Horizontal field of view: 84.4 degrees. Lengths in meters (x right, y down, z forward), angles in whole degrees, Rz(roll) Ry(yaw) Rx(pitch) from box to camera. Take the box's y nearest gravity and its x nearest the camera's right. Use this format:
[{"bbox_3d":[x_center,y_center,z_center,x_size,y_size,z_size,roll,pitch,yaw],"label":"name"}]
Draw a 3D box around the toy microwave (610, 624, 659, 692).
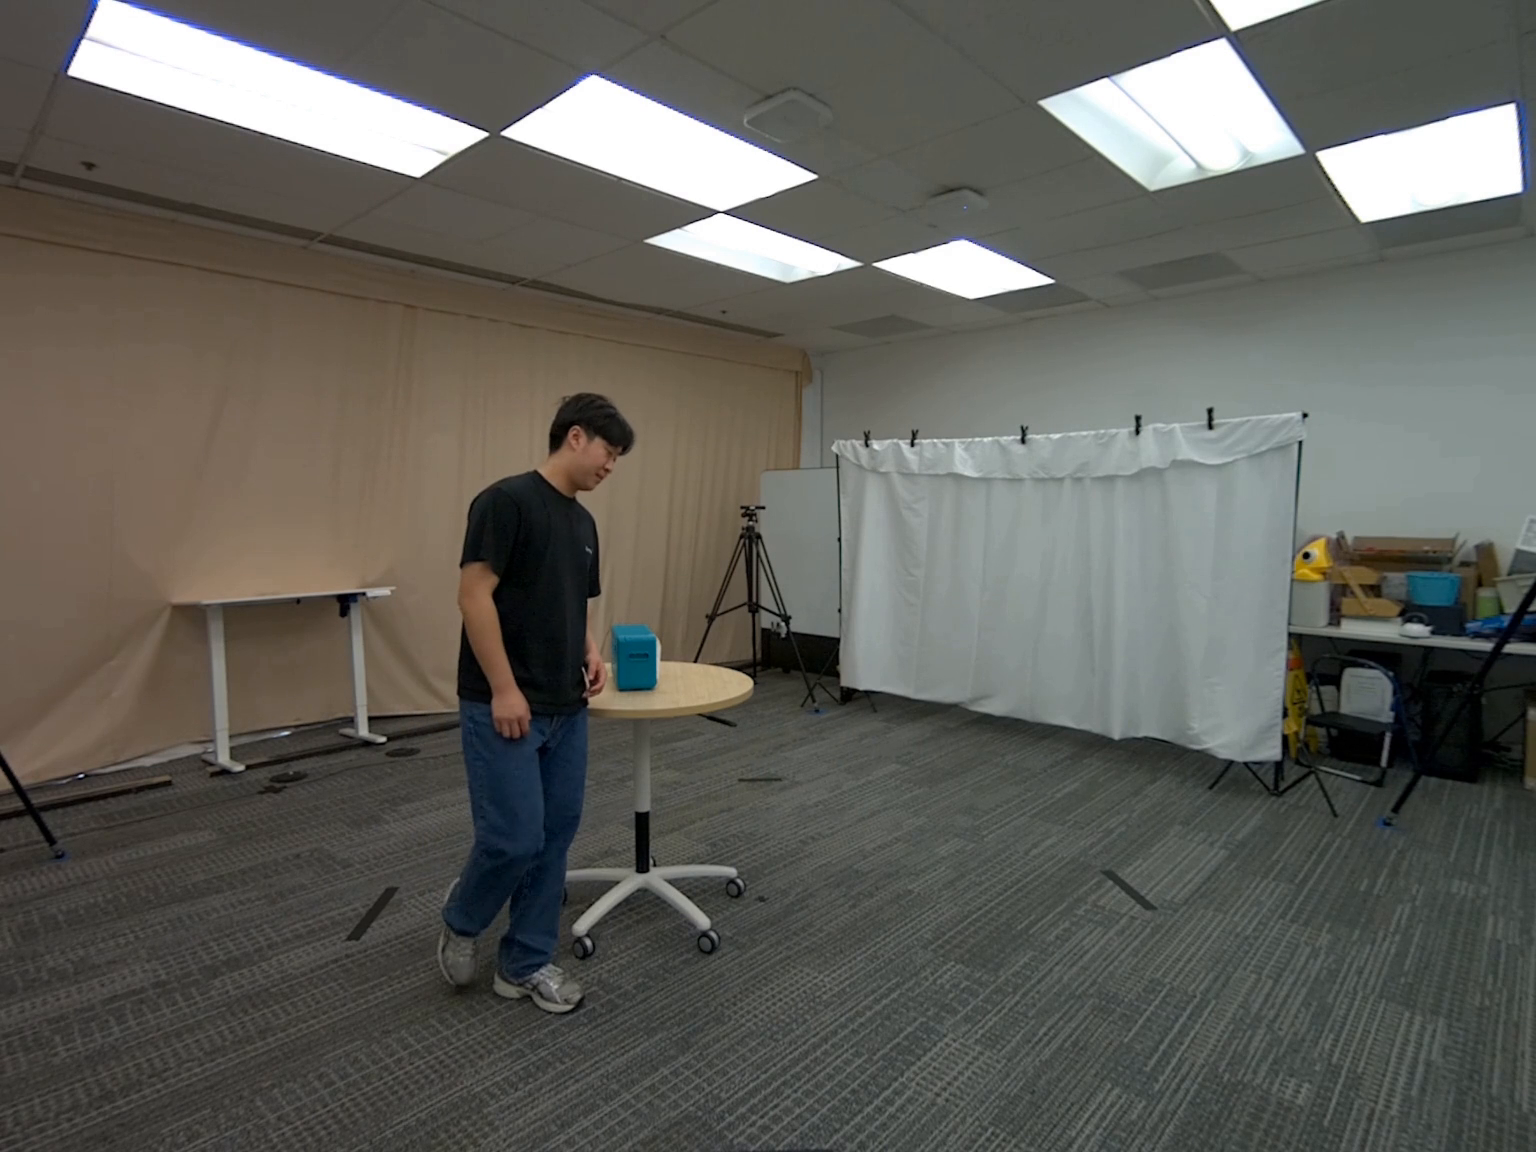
[{"bbox_3d":[-0.447,0.269,2.843,0.150,0.184,0.290,0,4,-13],"label":"toy microwave"}]
